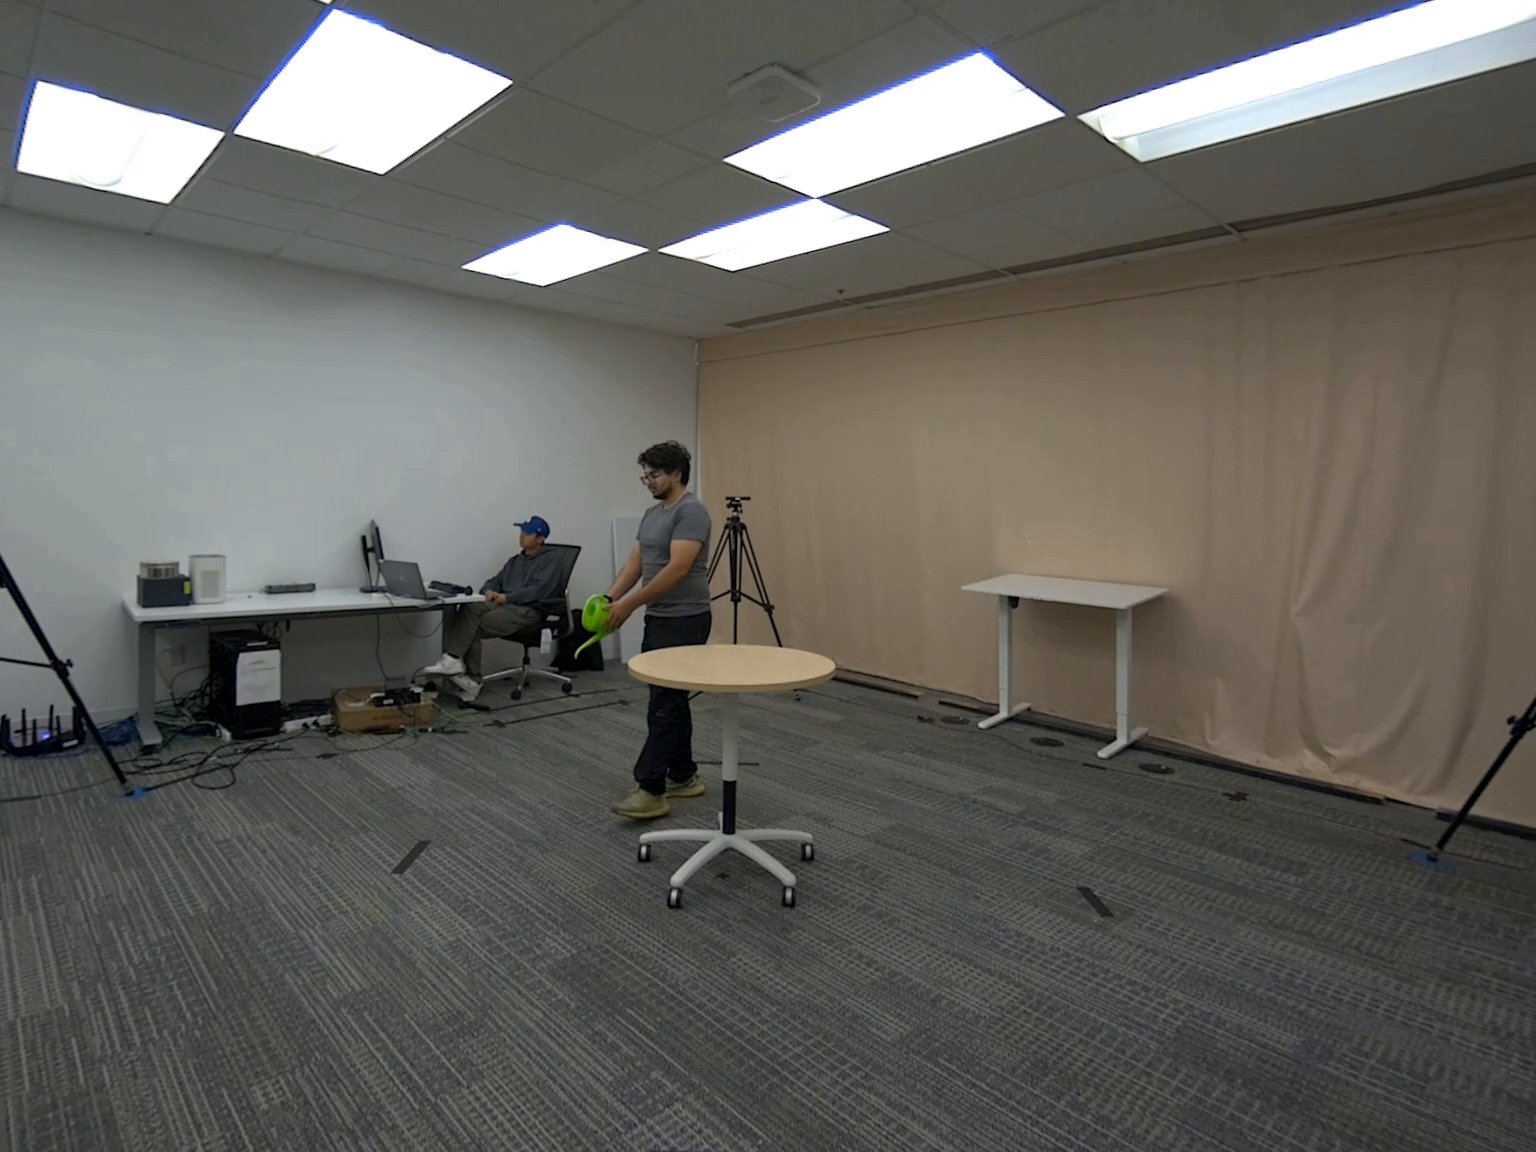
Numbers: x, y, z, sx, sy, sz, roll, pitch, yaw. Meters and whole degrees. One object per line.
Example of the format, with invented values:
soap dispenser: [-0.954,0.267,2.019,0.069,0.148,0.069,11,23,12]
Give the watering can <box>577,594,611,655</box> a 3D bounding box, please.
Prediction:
watering can: [-0.765,0.220,3.681,0.101,0.278,0.172,24,6,39]
